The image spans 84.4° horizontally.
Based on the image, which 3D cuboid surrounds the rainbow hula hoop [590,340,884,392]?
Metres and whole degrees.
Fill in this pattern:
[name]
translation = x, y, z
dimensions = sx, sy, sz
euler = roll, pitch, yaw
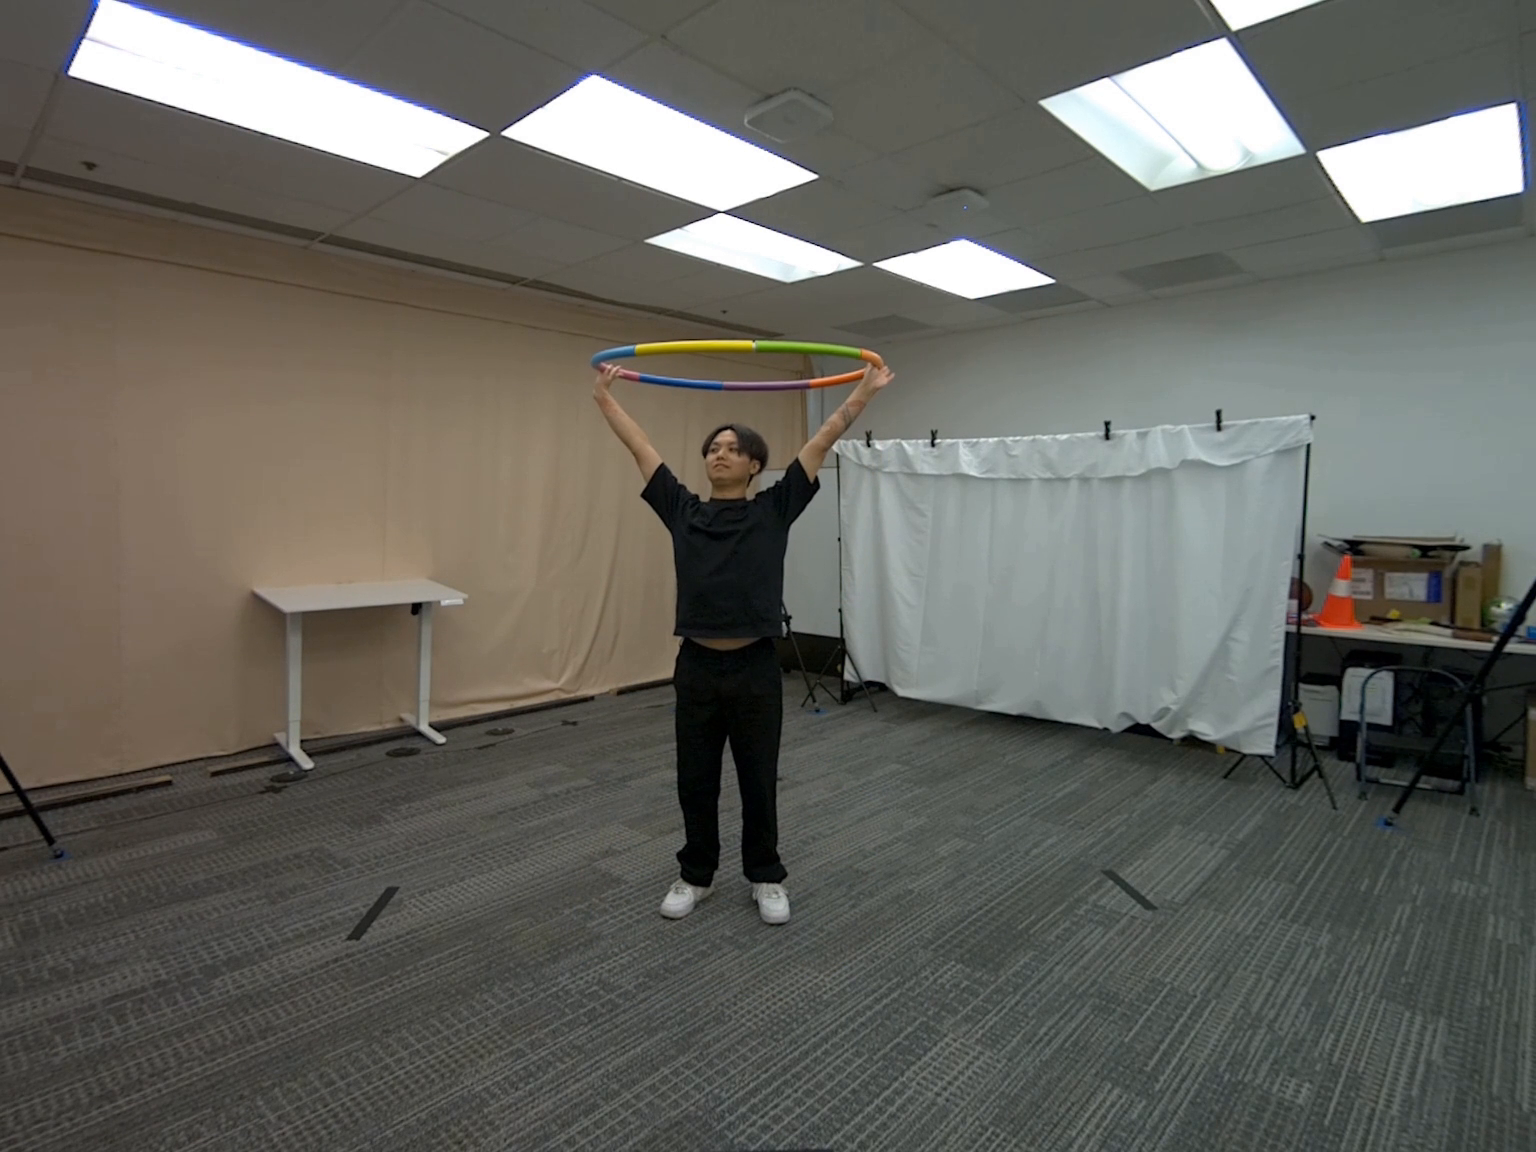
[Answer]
[rainbow hula hoop]
translation = -0.109, -0.720, 2.916
dimensions = 0.978, 0.035, 0.983
euler = 0, 6, -2
